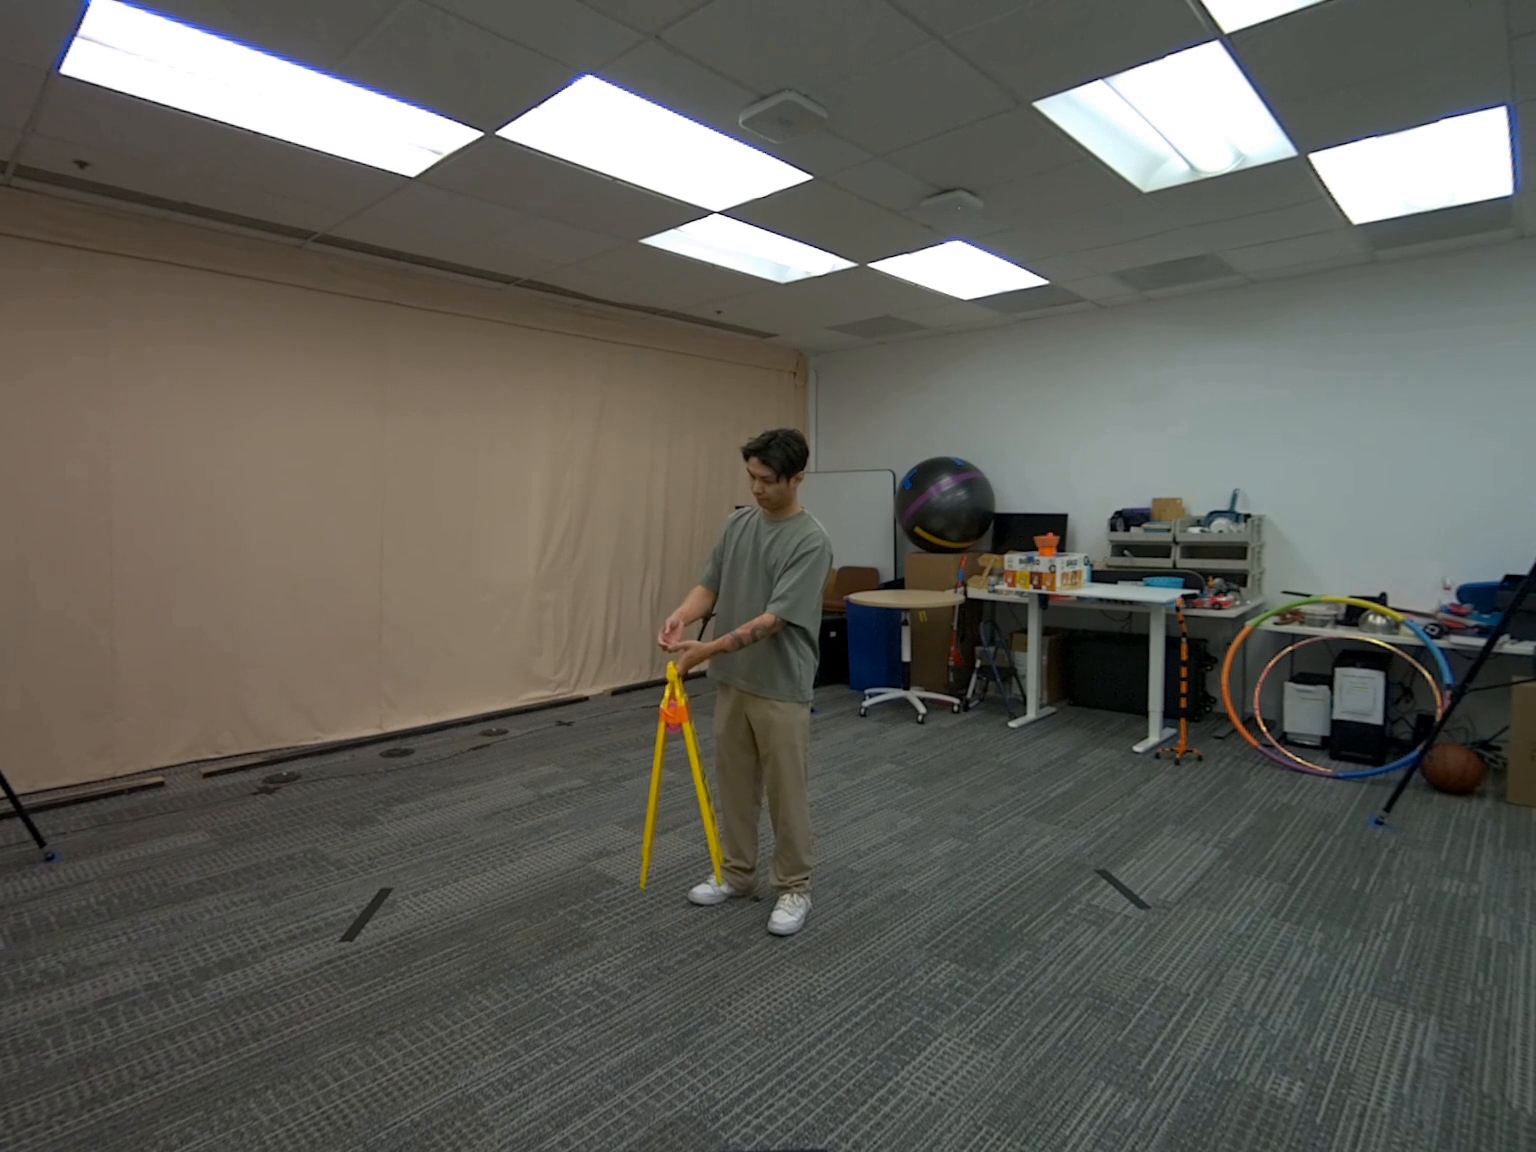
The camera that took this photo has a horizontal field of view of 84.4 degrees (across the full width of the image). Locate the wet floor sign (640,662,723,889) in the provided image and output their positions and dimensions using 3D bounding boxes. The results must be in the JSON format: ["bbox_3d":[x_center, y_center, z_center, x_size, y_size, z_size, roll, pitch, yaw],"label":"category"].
[{"bbox_3d":[-0.278,0.599,2.635,0.289,0.648,0.282,-4,-4,-3],"label":"wet floor sign"}]
